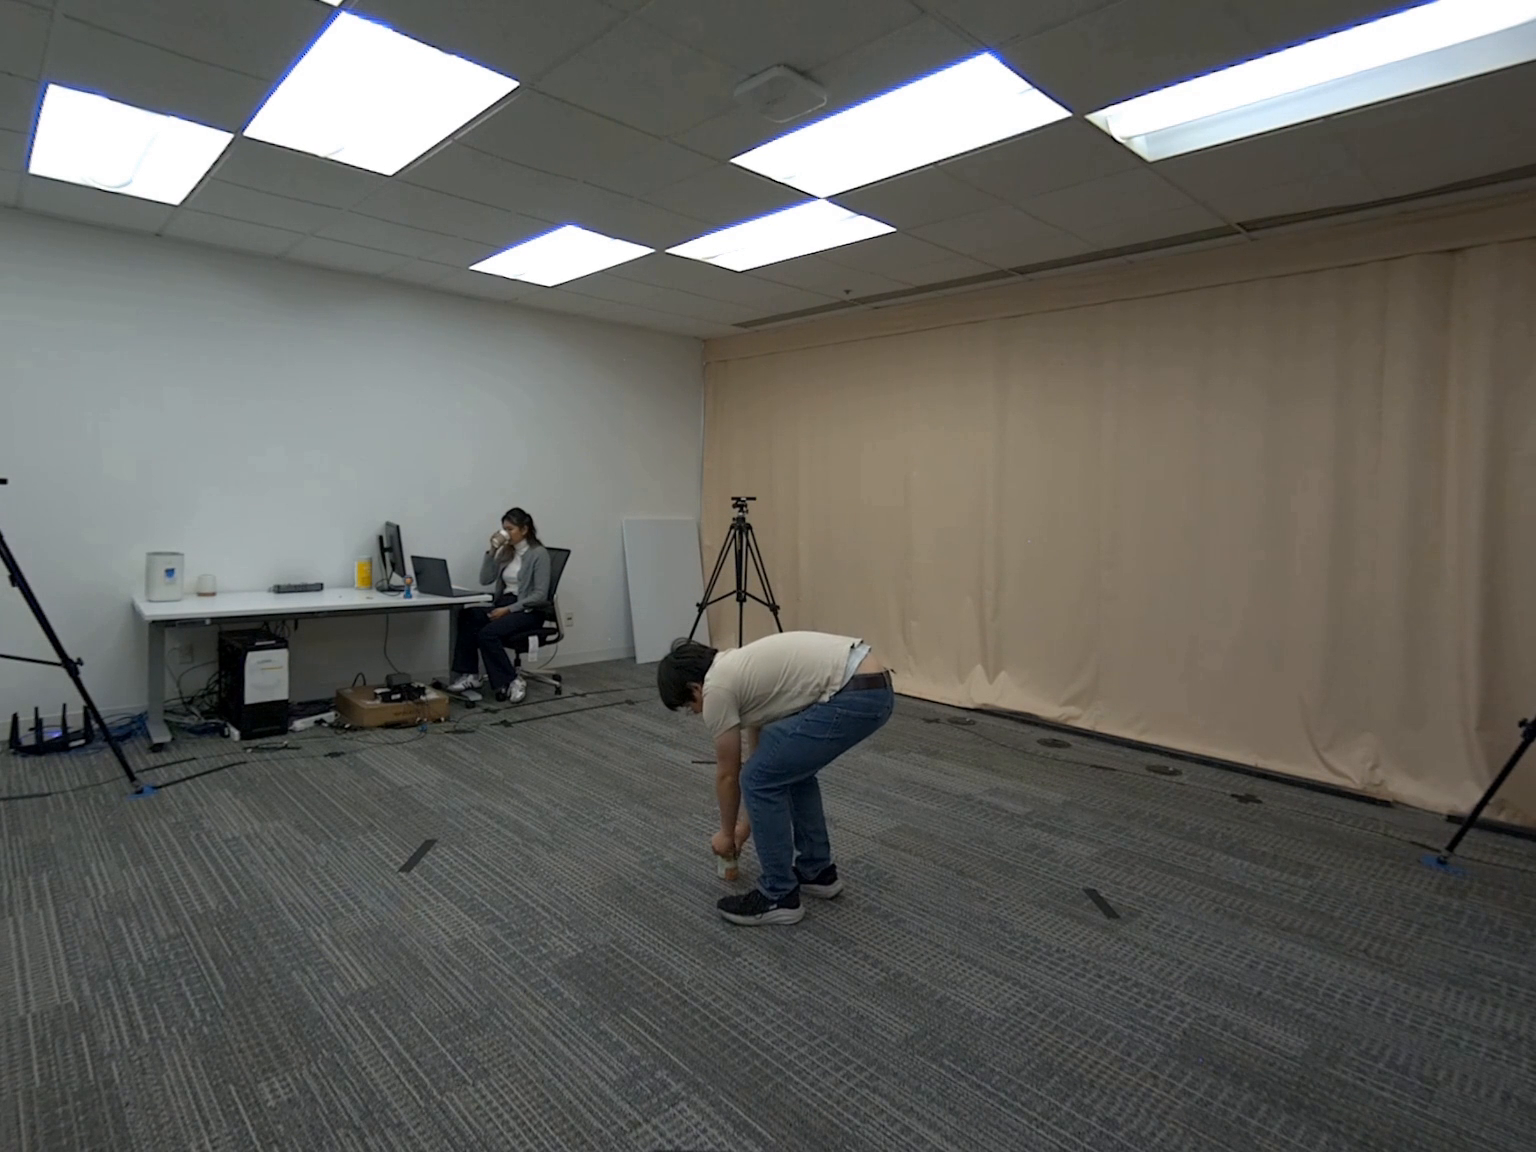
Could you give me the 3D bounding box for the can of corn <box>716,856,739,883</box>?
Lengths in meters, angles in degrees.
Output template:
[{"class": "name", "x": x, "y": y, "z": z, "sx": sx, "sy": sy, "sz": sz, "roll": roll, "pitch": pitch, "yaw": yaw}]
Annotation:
[{"class": "can of corn", "x": -0.153, "y": 1.051, "z": 3.103, "sx": 0.074, "sy": 0.111, "sz": 0.074, "roll": -1, "pitch": 3, "yaw": -1}]
